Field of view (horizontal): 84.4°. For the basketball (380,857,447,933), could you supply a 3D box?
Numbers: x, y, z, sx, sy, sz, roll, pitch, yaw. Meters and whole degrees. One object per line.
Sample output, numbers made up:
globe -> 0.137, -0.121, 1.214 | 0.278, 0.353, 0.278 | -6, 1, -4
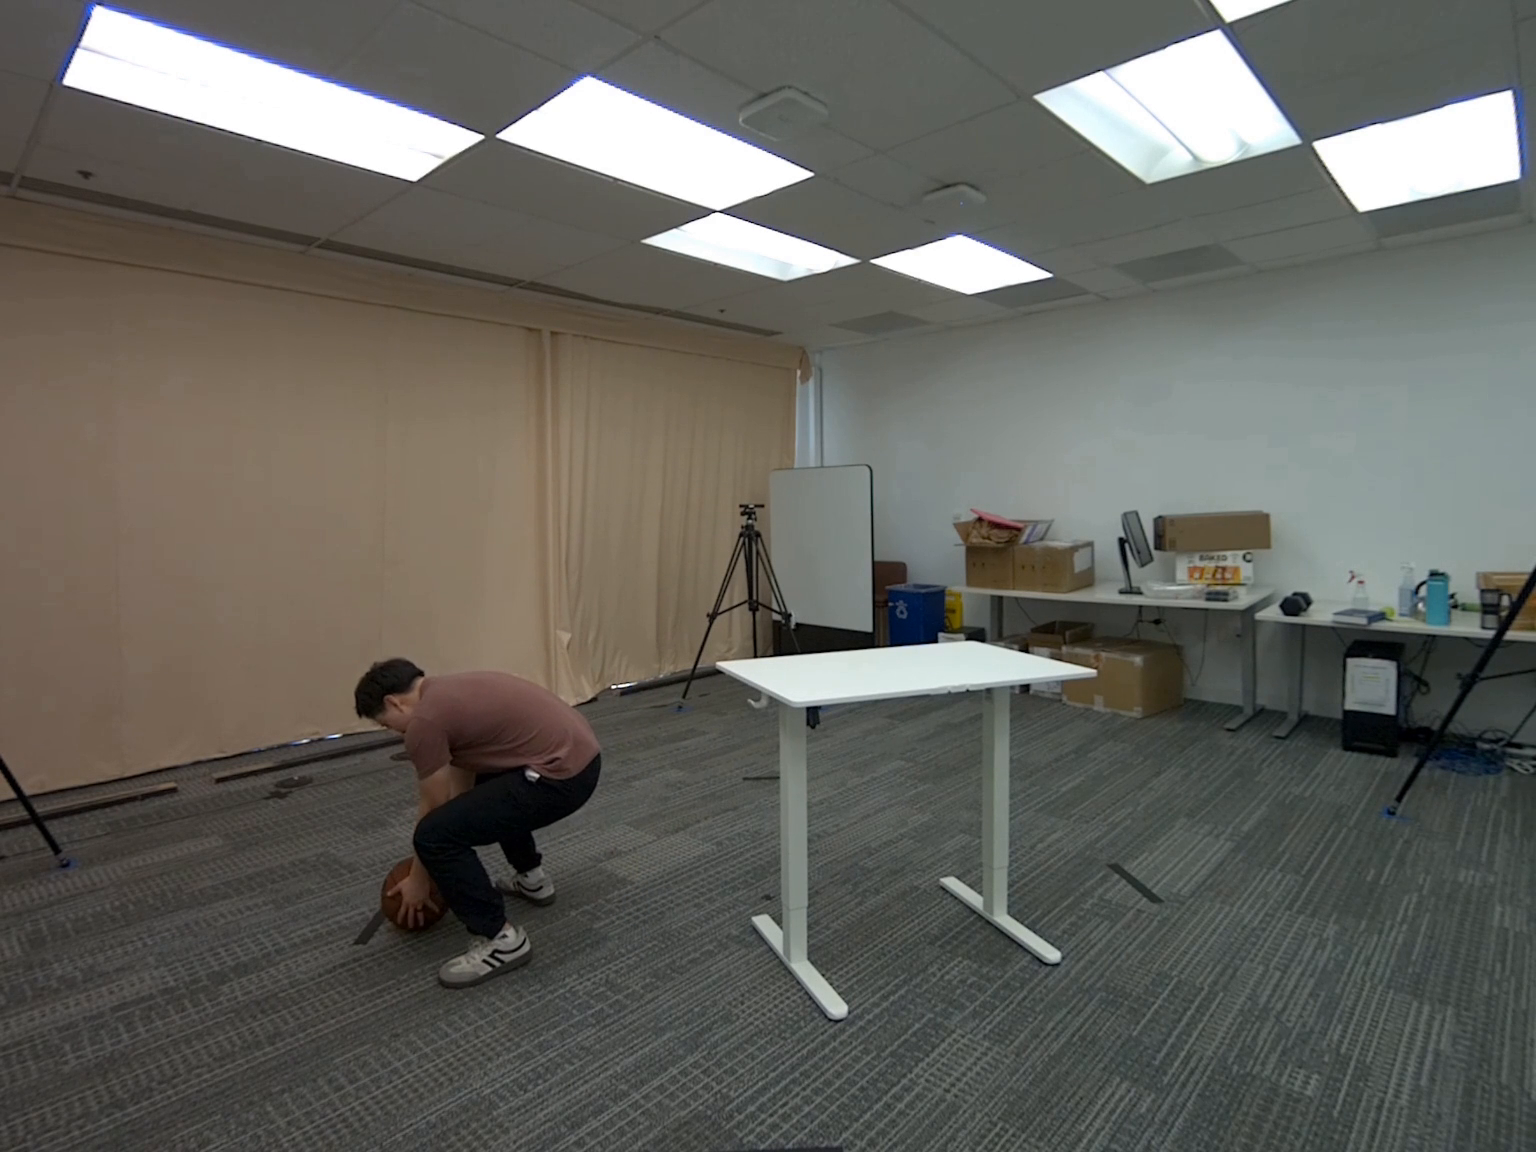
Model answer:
basketball -> -1.178, 1.054, 2.823 | 0.236, 0.235, 0.237 | -1, 4, -2
